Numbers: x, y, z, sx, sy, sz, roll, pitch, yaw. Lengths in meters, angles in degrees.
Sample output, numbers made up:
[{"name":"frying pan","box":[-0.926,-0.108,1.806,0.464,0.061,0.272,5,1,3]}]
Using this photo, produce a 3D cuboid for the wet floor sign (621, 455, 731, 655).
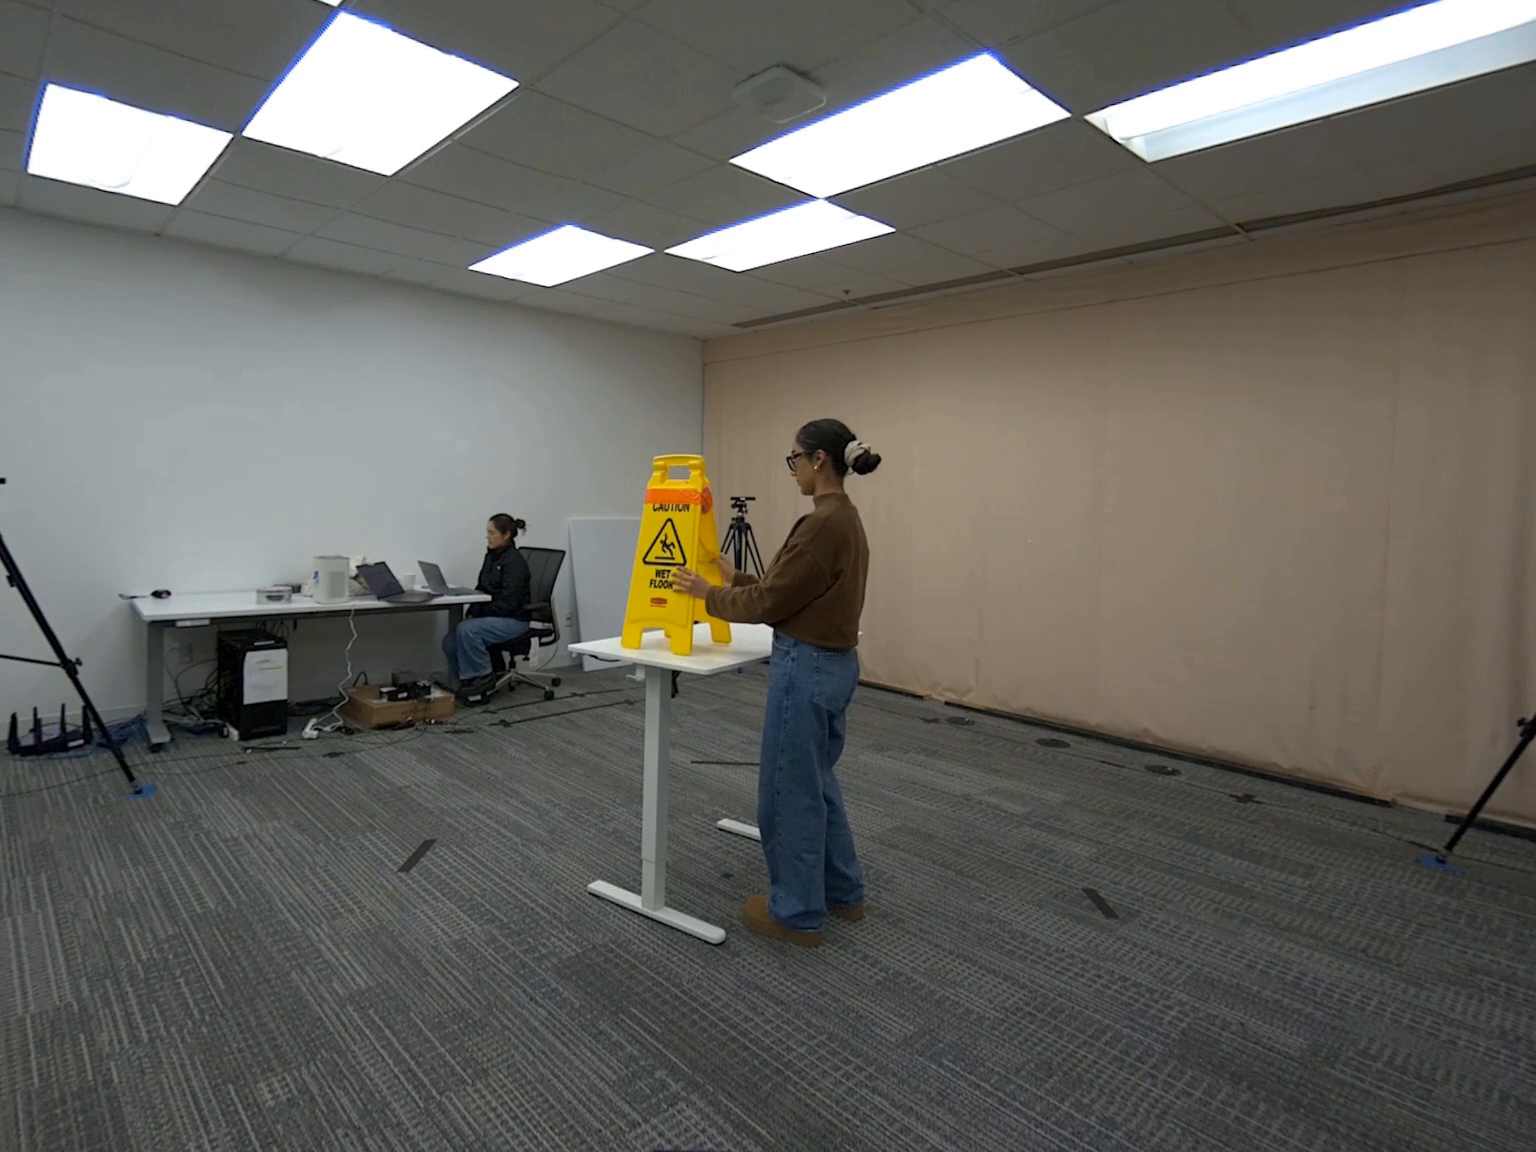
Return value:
[{"name":"wet floor sign","box":[-0.314,-0.082,2.857,0.288,0.645,0.284,1,3,29]}]
